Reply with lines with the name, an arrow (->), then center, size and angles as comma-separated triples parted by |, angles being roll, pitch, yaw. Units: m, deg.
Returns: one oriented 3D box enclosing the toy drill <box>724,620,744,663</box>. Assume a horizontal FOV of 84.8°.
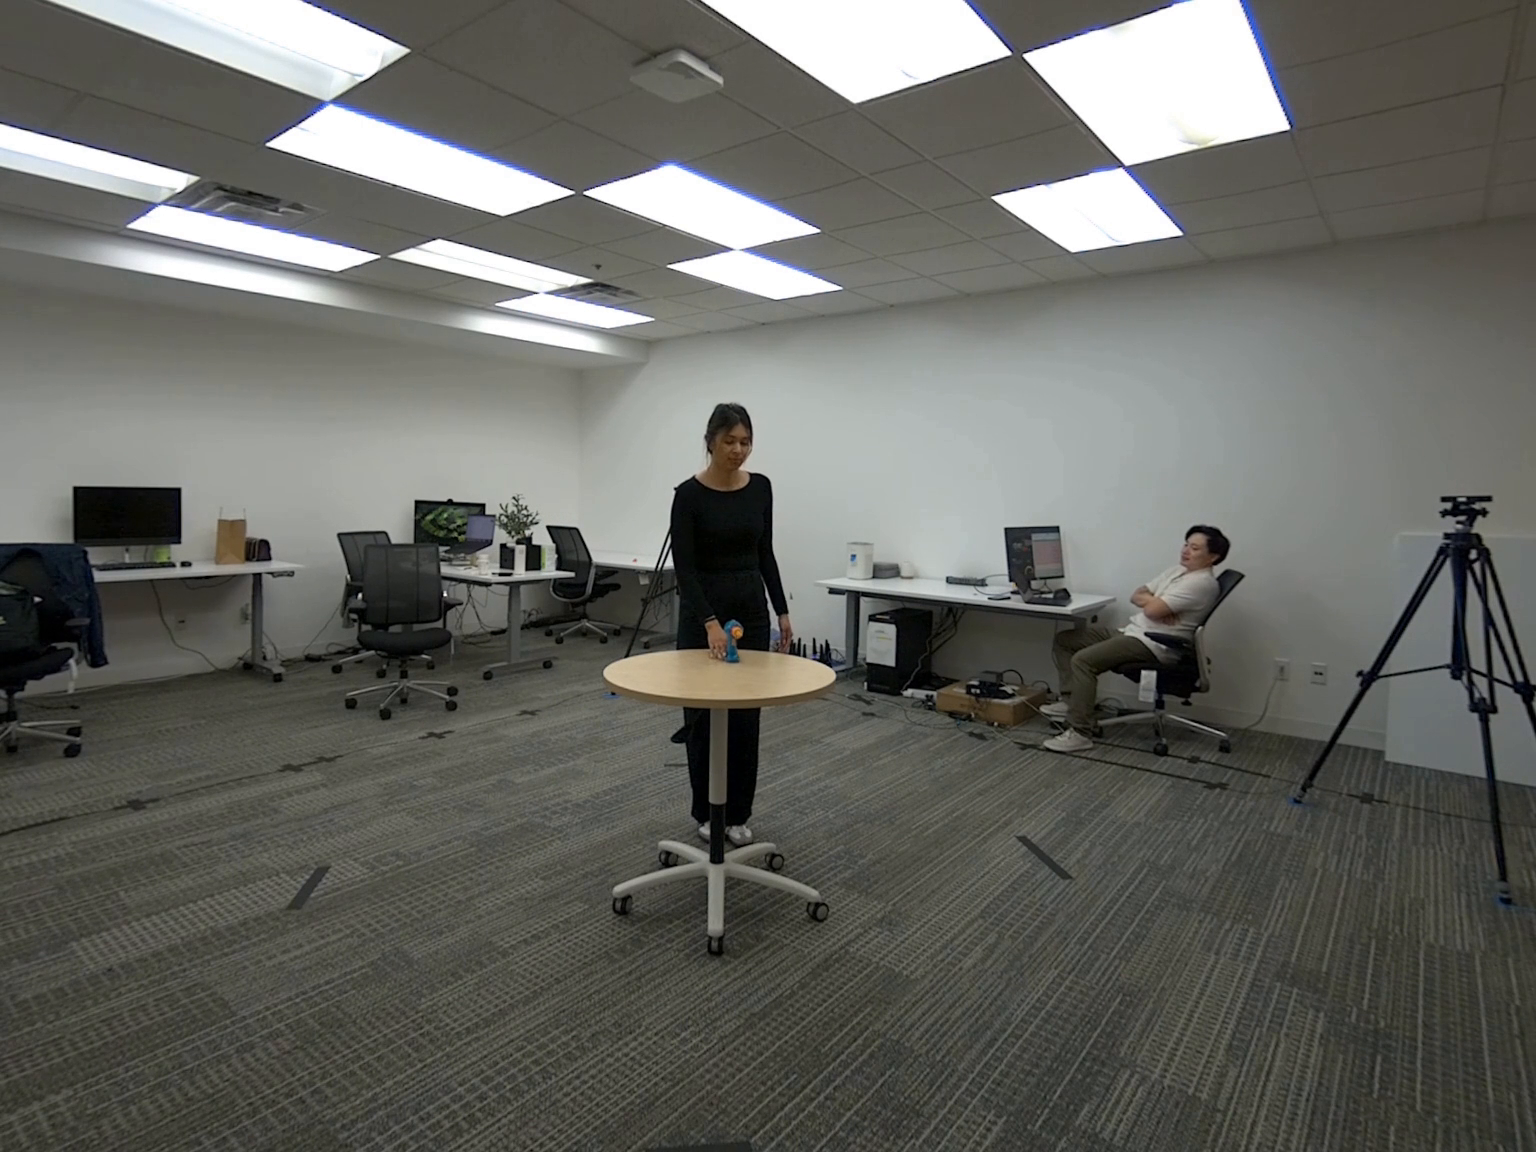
toy drill -> -0.127, 0.224, 2.942 | 0.060, 0.145, 0.173 | 1, 4, -16
